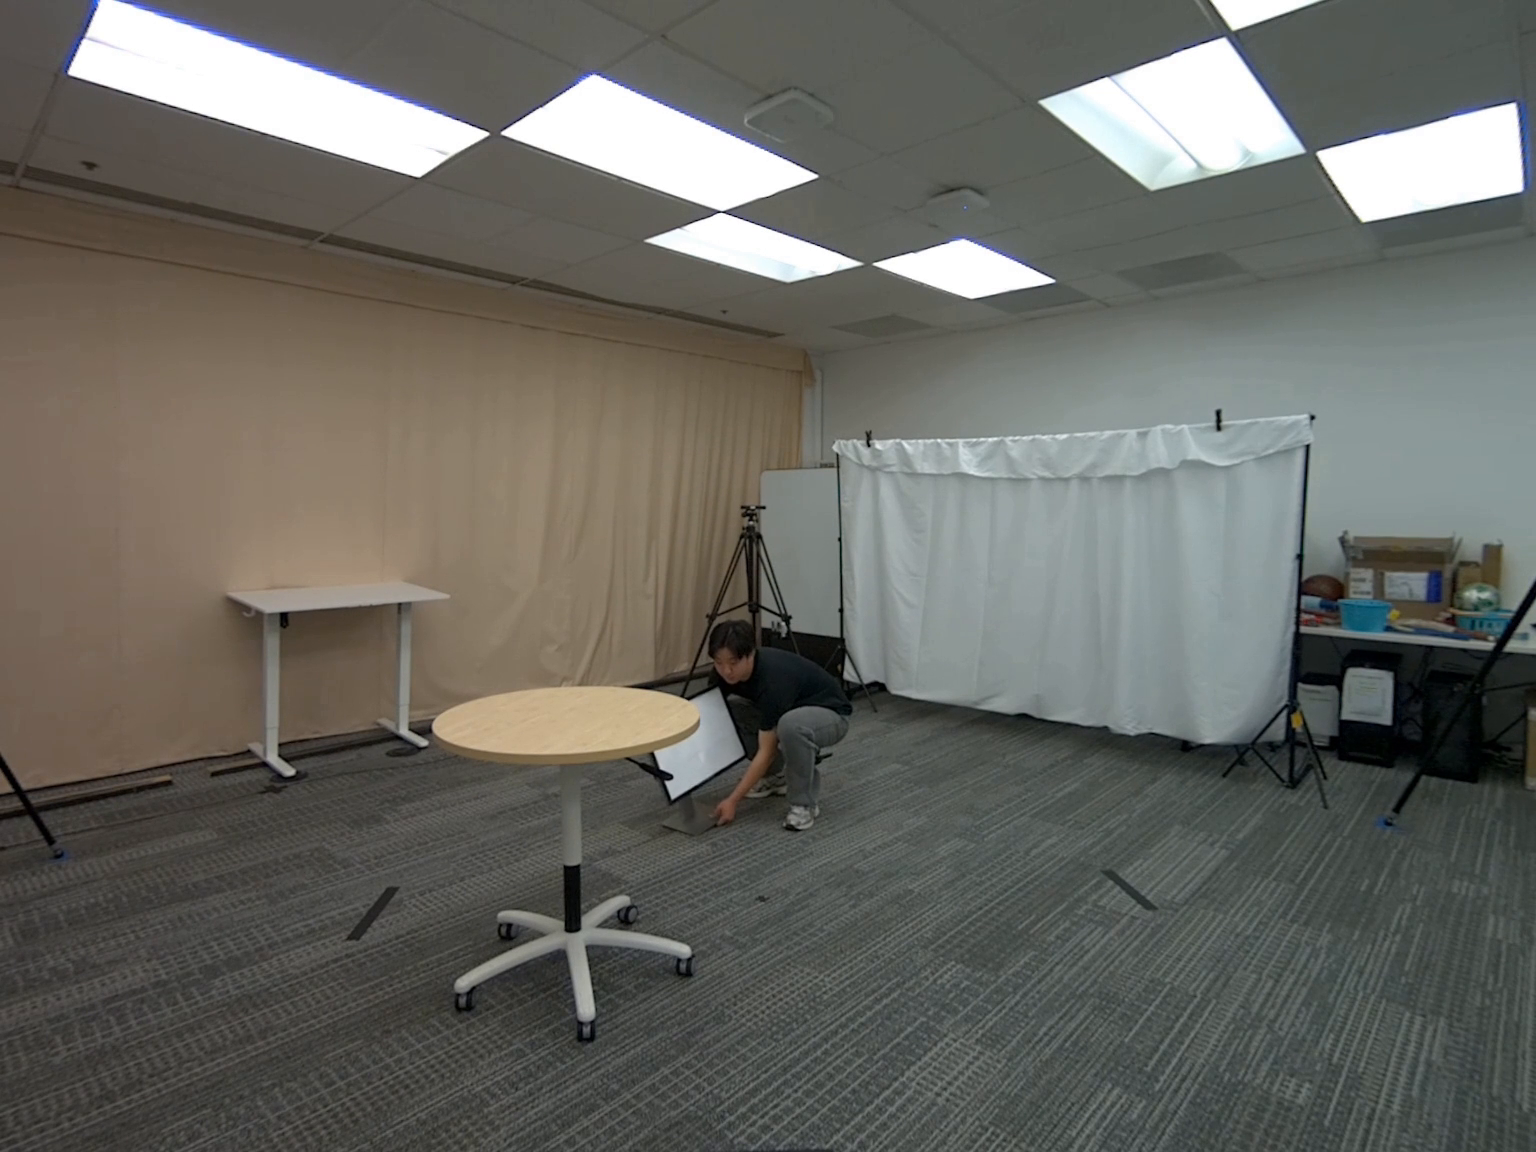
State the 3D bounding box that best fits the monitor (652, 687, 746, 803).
[{"bbox_3d":[-0.334,0.818,3.671,0.229,0.563,0.548,0,10,36],"label":"monitor"}]
